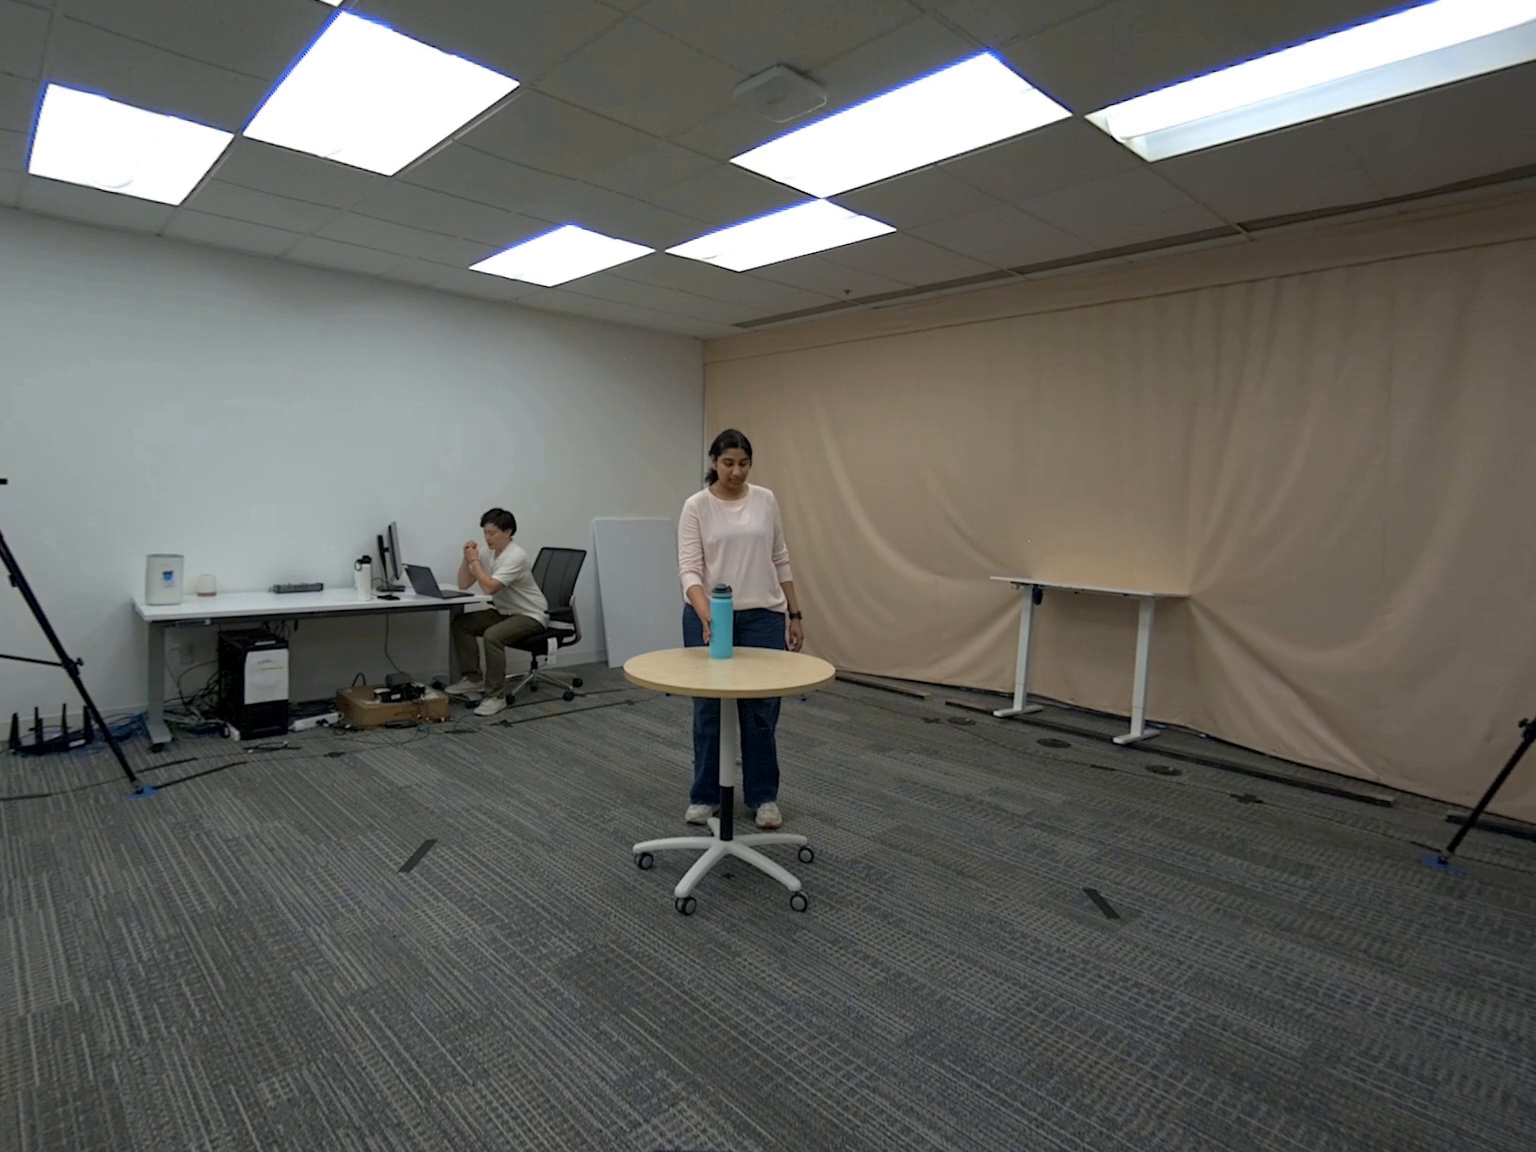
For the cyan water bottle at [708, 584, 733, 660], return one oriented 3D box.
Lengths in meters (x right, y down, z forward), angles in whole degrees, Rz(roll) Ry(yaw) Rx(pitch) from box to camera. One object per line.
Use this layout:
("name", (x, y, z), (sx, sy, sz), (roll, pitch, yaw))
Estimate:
("cyan water bottle", (-0.194, 0.170, 3.224), (0.092, 0.283, 0.092), (0, 2, -1))
